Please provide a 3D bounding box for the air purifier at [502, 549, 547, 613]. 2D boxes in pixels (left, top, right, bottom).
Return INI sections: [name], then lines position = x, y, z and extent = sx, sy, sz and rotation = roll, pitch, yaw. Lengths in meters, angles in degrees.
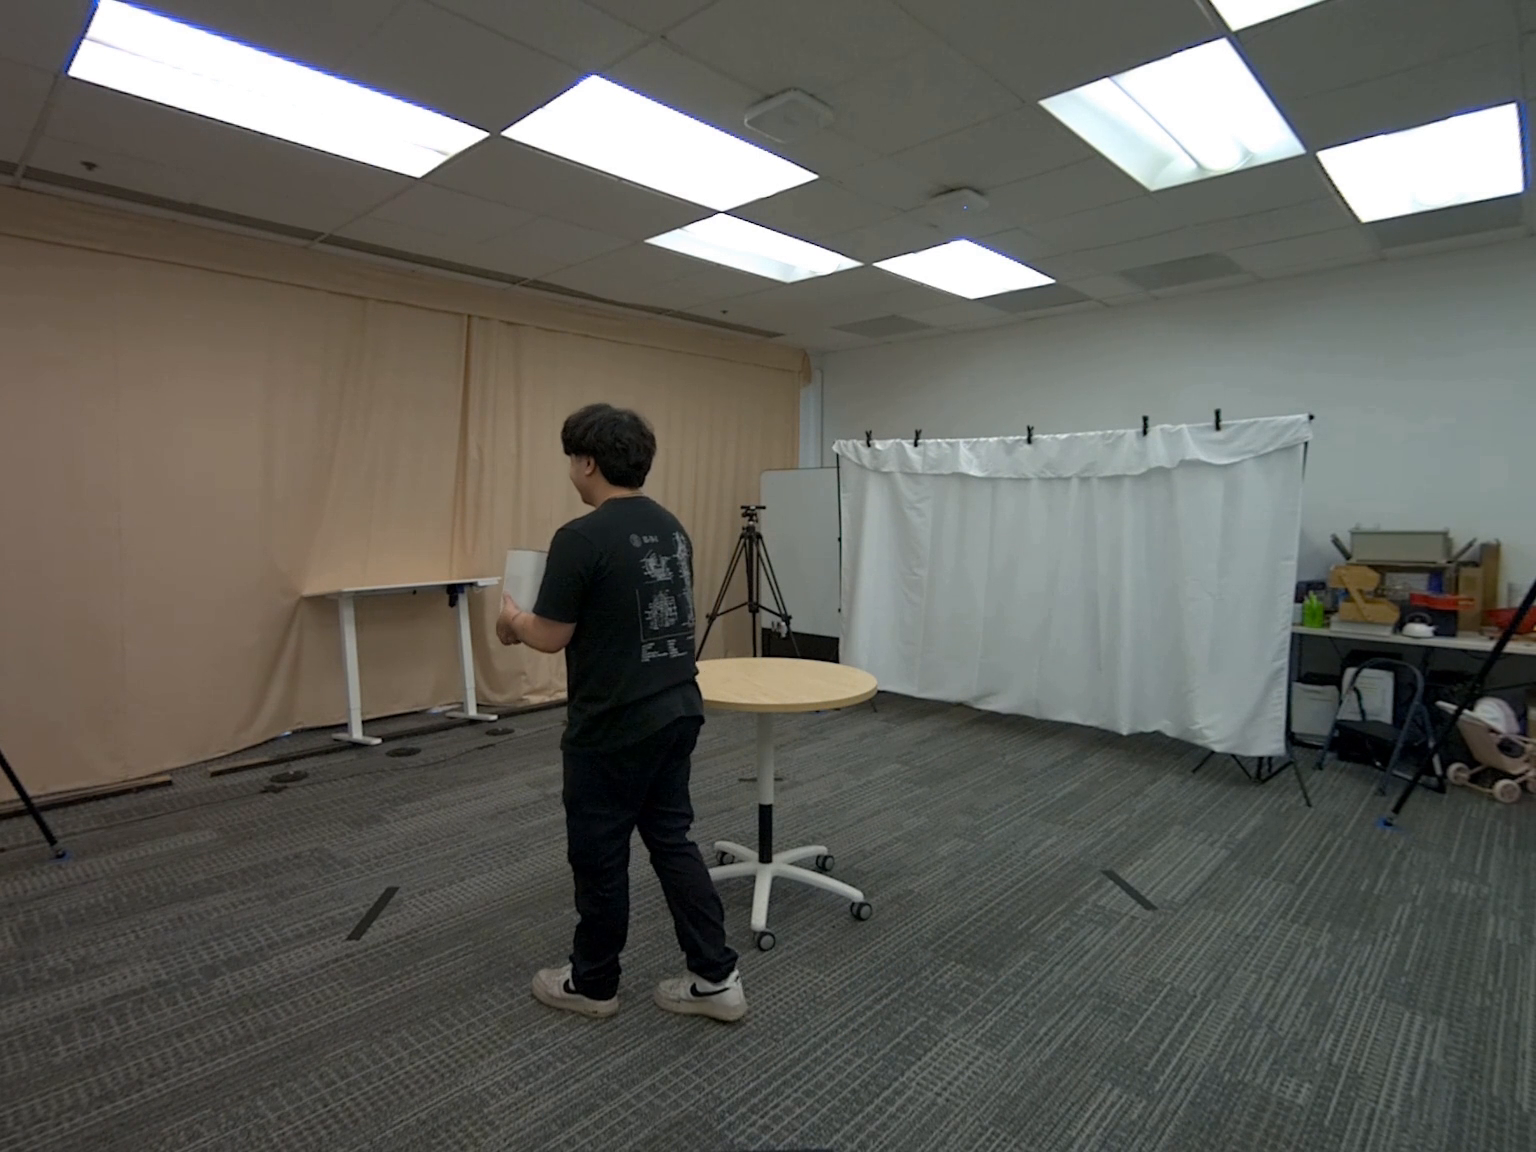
[air purifier]
position = -0.692, 0.064, 2.507
extent = 0.177, 0.266, 0.165
rotation = 1, -6, 36
